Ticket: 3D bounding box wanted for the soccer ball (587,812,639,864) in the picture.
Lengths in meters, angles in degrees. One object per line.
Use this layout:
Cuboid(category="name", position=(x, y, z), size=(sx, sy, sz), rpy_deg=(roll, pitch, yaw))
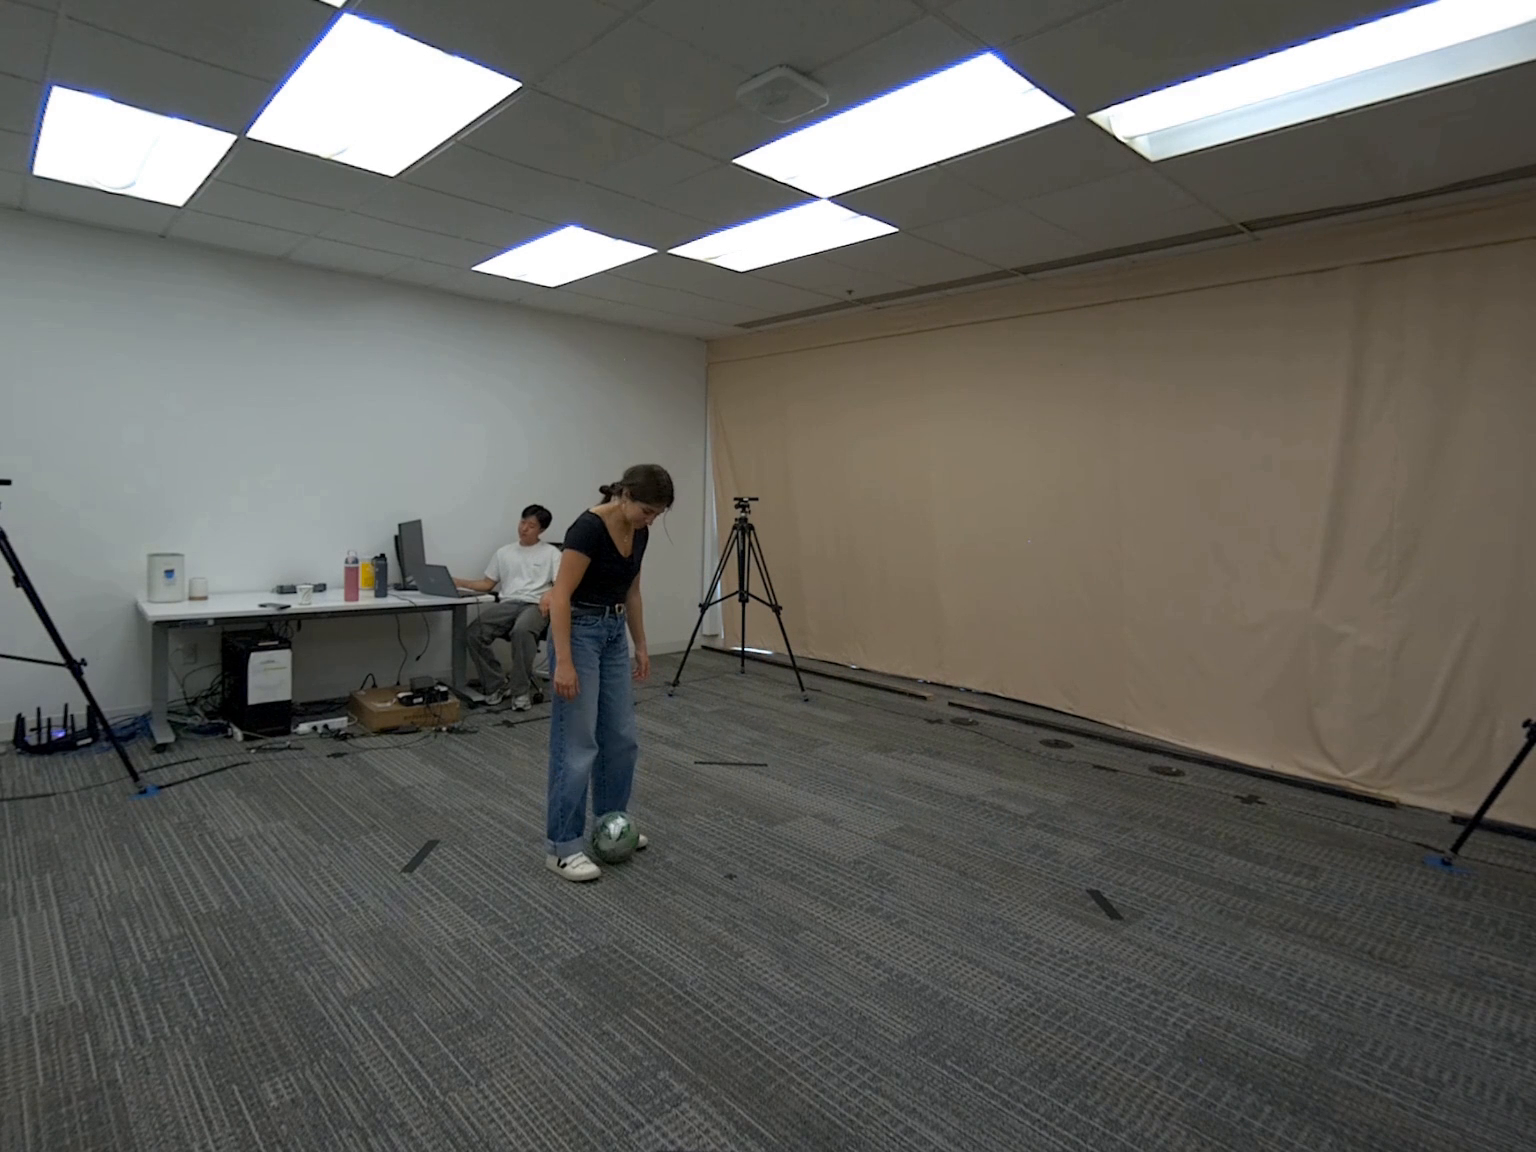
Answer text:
Cuboid(category="soccer ball", position=(-0.596, 1.003, 3.197), size=(0.187, 0.187, 0.188), rpy_deg=(1, 4, -1))
